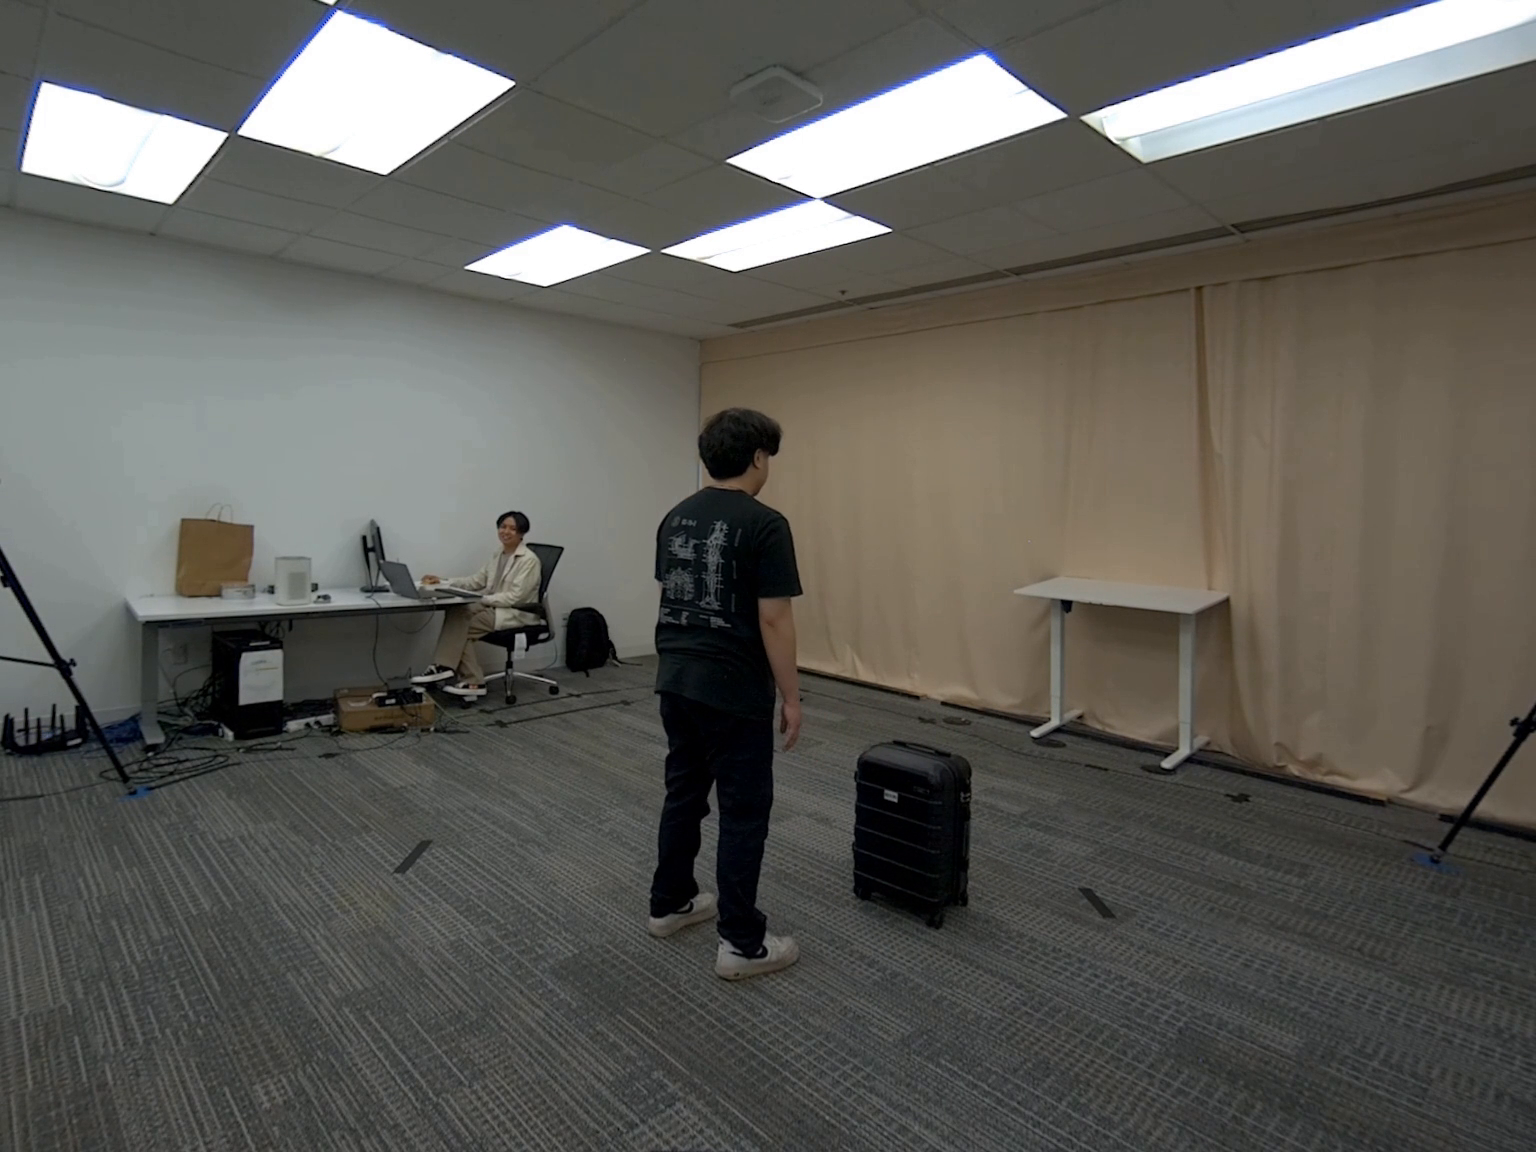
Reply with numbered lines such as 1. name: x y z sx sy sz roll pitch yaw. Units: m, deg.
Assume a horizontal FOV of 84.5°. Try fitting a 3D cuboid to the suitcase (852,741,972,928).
1. suitcase: 0.497 0.865 2.911 0.385 0.547 0.243 6 7 41
